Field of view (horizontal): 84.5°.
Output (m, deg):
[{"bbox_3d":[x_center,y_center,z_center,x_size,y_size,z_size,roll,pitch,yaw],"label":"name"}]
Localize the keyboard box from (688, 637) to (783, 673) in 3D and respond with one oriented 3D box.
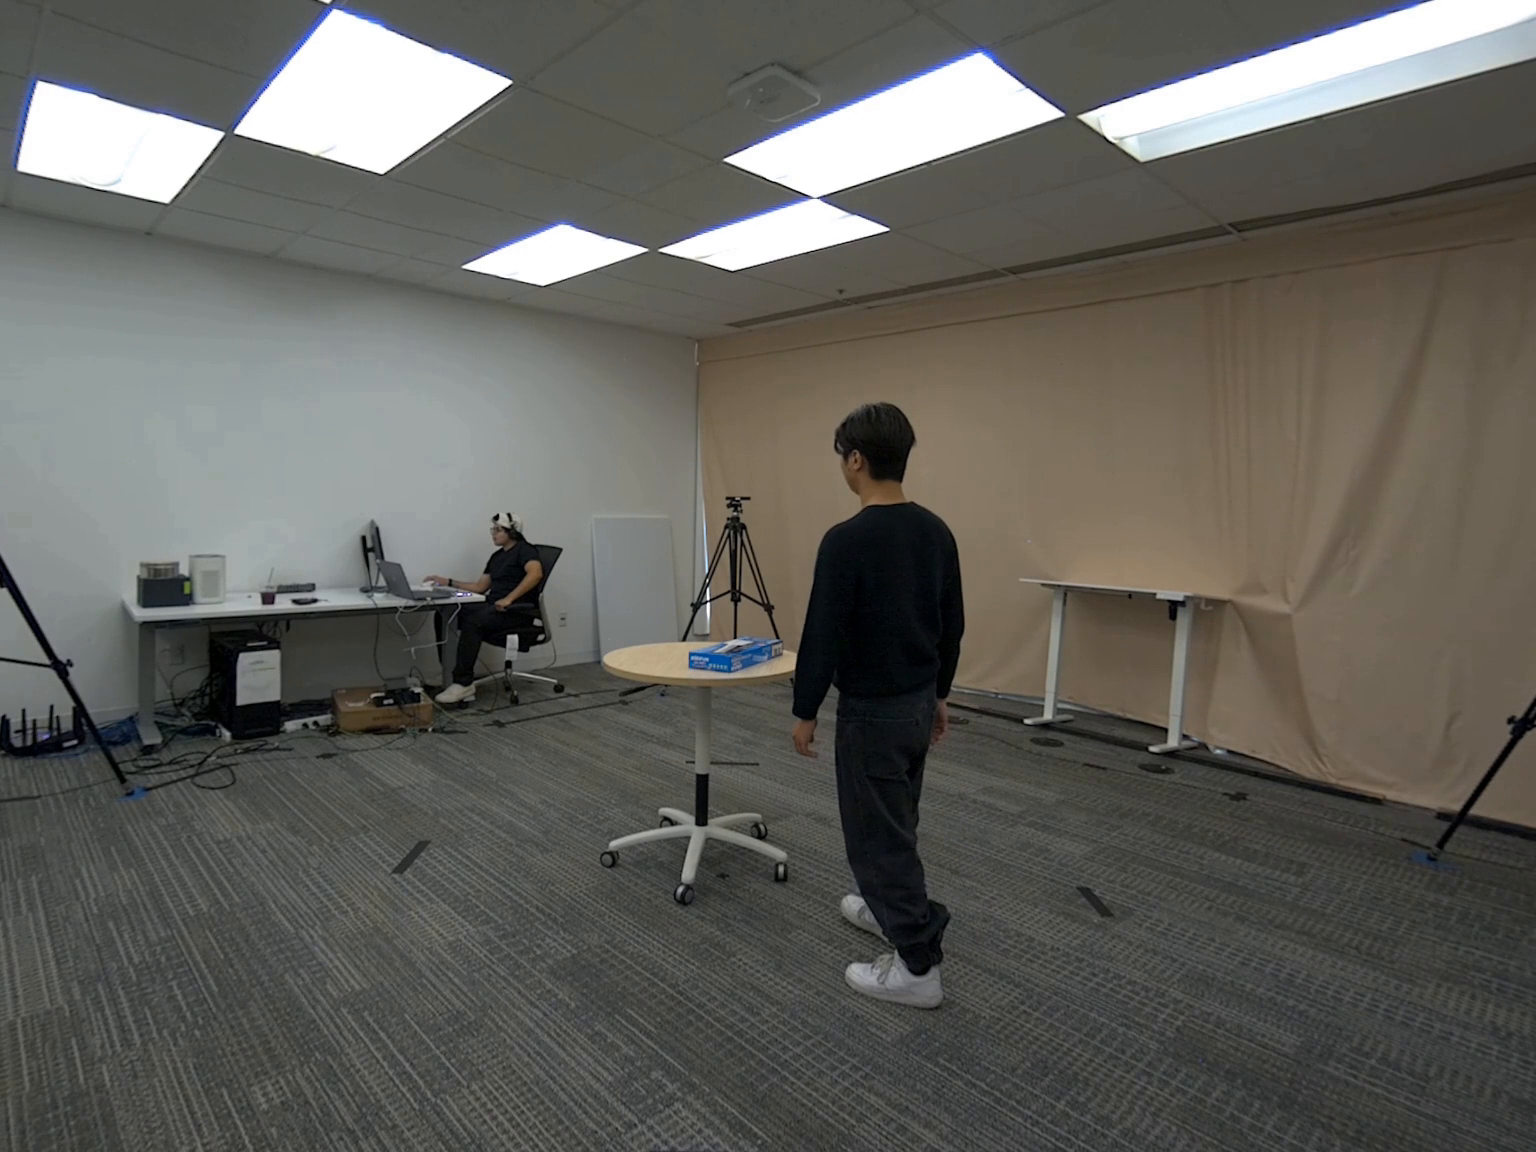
[{"bbox_3d":[-0.123,0.289,3.146,0.179,0.059,0.429,4,5,26],"label":"keyboard box"}]
